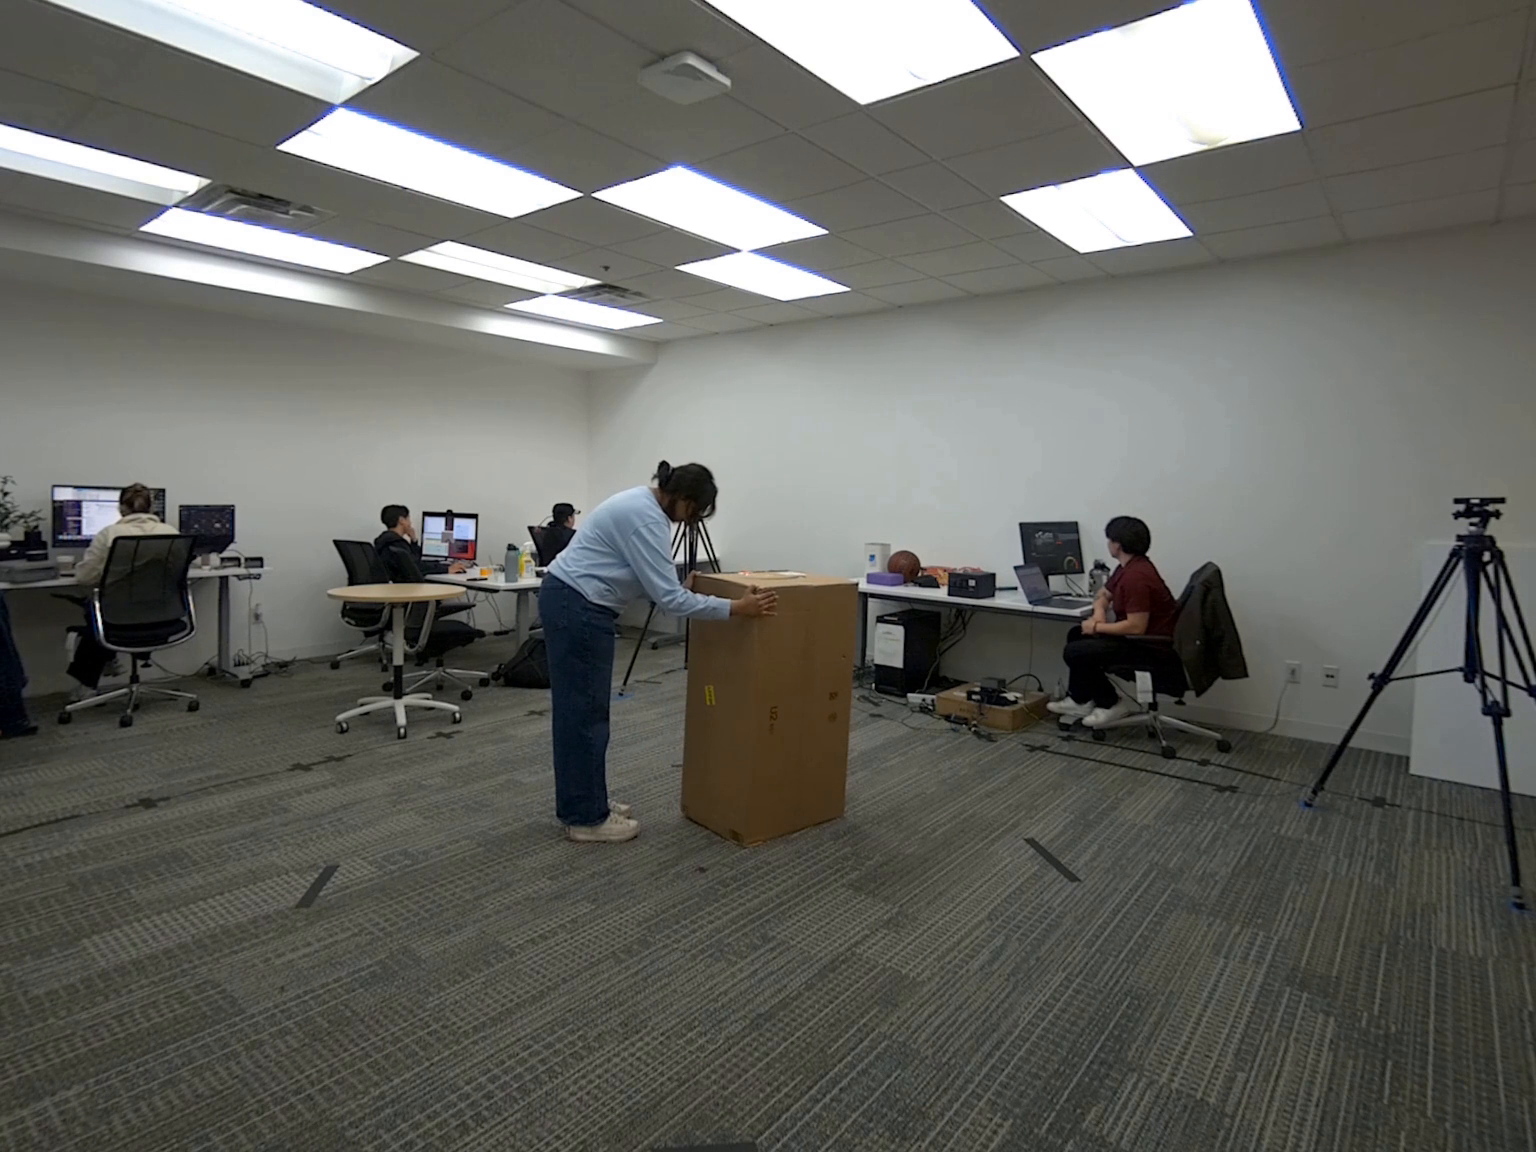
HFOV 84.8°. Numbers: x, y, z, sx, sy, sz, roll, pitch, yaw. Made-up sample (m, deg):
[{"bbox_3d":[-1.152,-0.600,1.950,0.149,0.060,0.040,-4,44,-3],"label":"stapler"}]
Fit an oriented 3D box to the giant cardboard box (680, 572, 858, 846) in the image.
[{"bbox_3d":[-0.005,0.519,3.606,0.560,1.022,0.441,-1,5,-41],"label":"giant cardboard box"}]
